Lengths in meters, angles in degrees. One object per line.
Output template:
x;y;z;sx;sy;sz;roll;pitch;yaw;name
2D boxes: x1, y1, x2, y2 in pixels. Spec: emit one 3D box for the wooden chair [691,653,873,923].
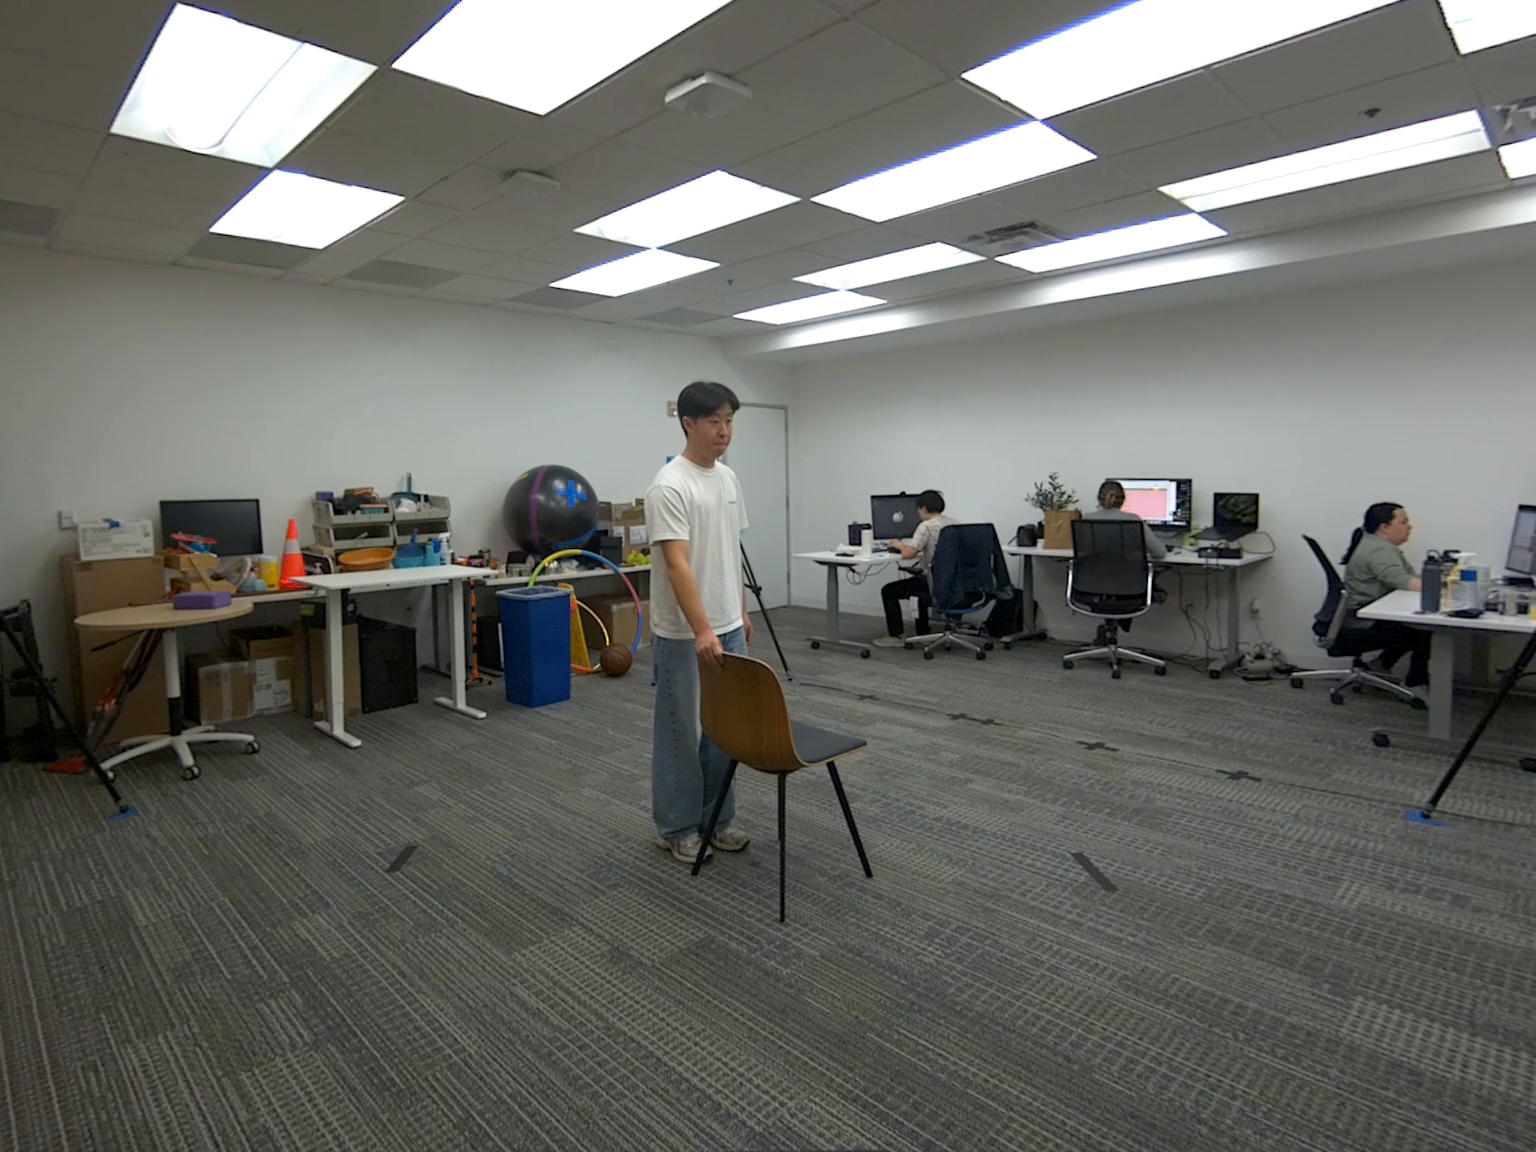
0.052;0.632;2.967;0.511;0.871;0.493;-11;10;-42;wooden chair
